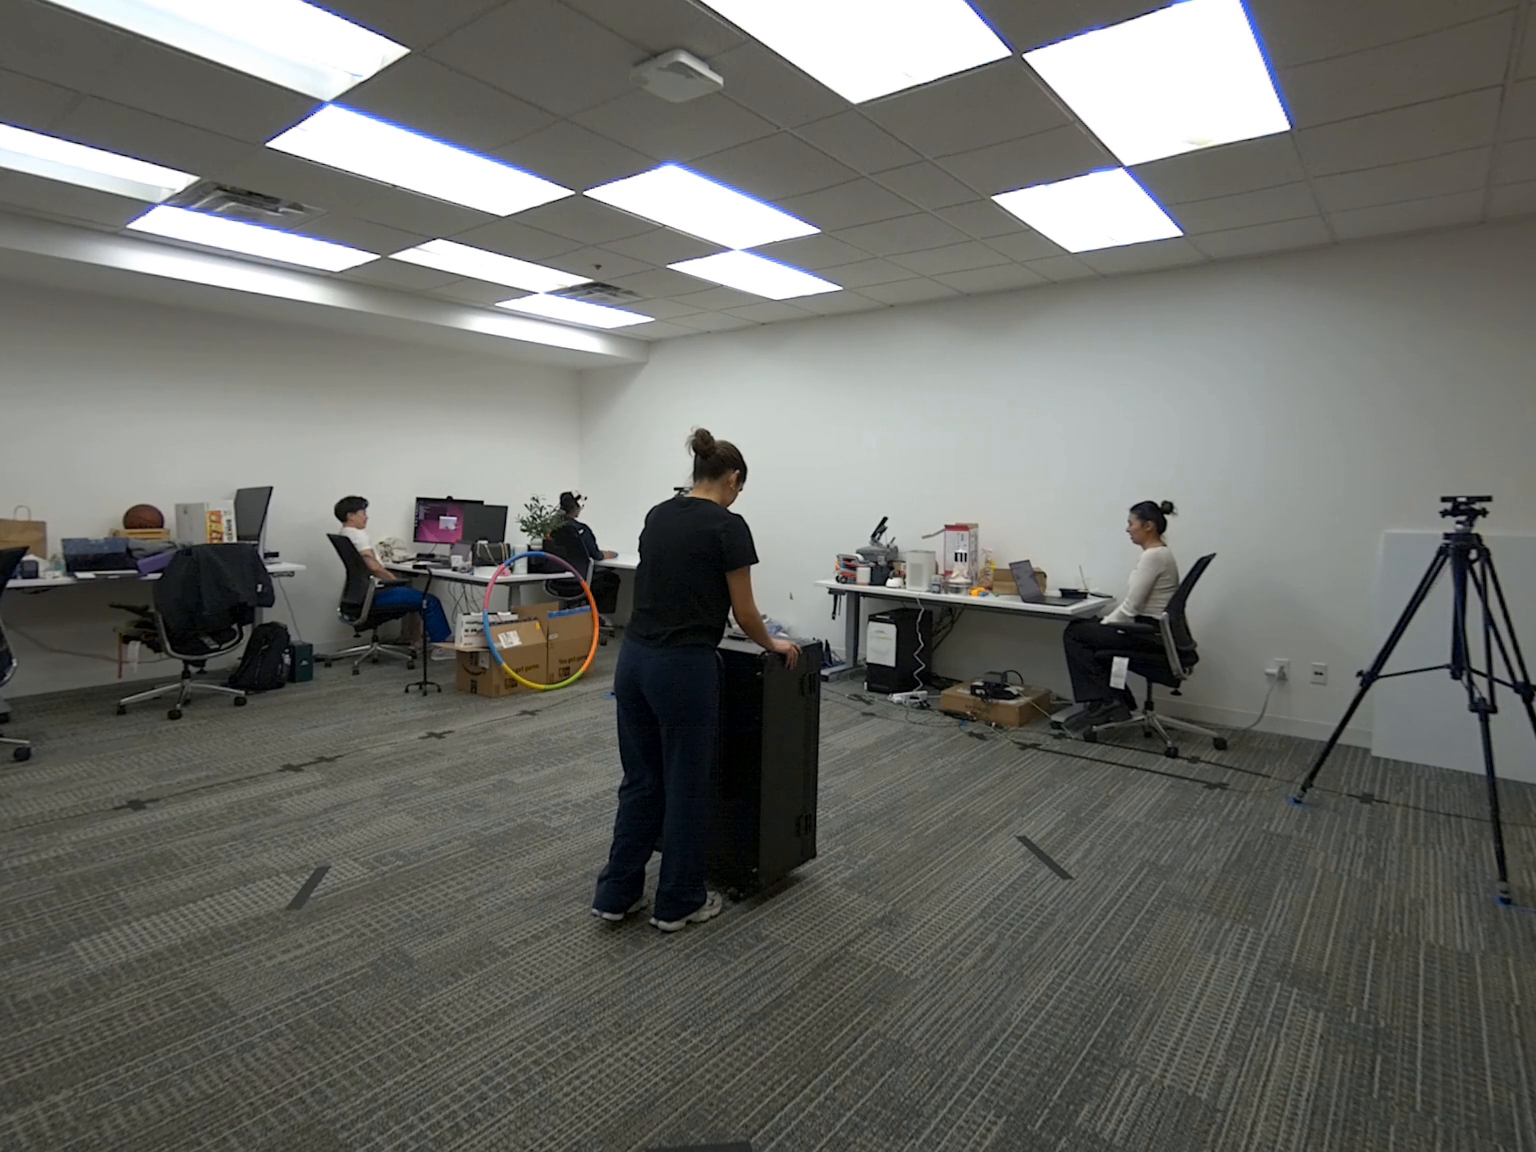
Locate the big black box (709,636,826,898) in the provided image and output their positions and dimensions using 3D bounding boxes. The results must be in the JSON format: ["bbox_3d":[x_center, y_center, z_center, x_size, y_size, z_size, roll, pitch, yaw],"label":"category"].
[{"bbox_3d":[-0.107,0.593,3.063,0.539,0.859,0.384,4,4,38],"label":"big black box"}]
